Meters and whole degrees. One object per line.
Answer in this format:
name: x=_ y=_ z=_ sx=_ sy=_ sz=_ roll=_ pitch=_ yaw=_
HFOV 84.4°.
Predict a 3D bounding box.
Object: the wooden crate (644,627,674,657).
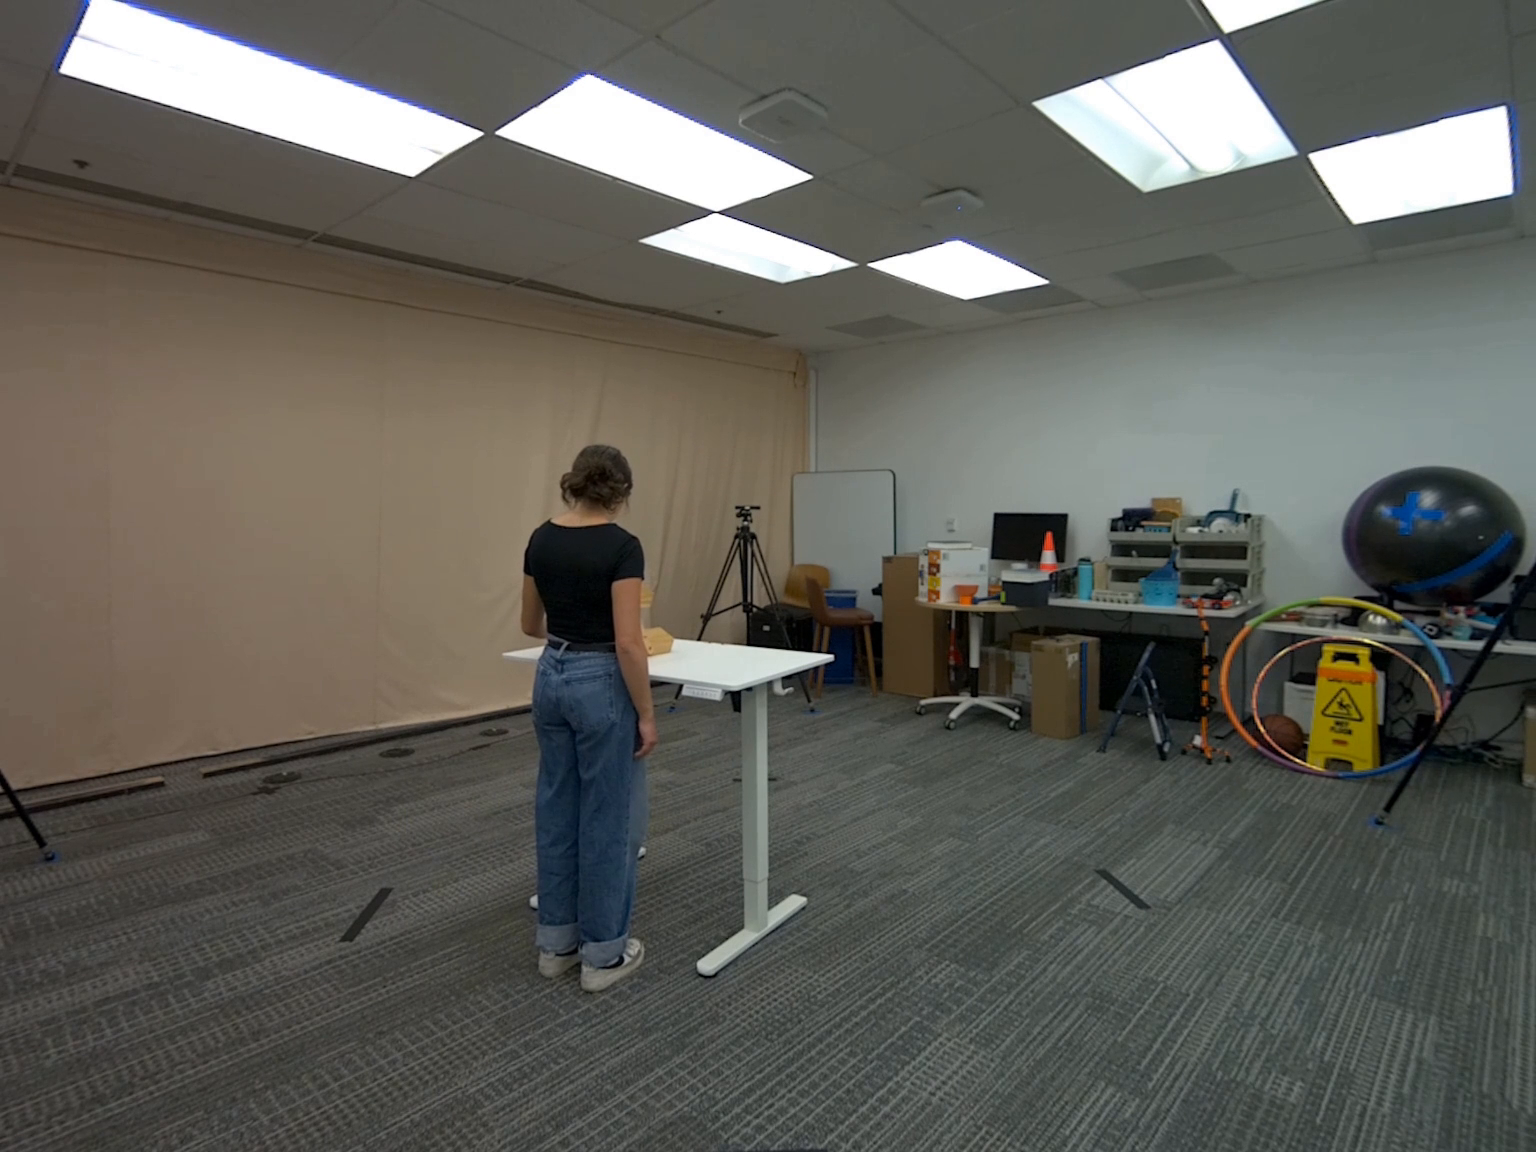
wooden crate: x=-0.546 y=0.137 z=2.947 sx=0.335 sy=0.272 sz=0.293 roll=3 pitch=6 yaw=42
